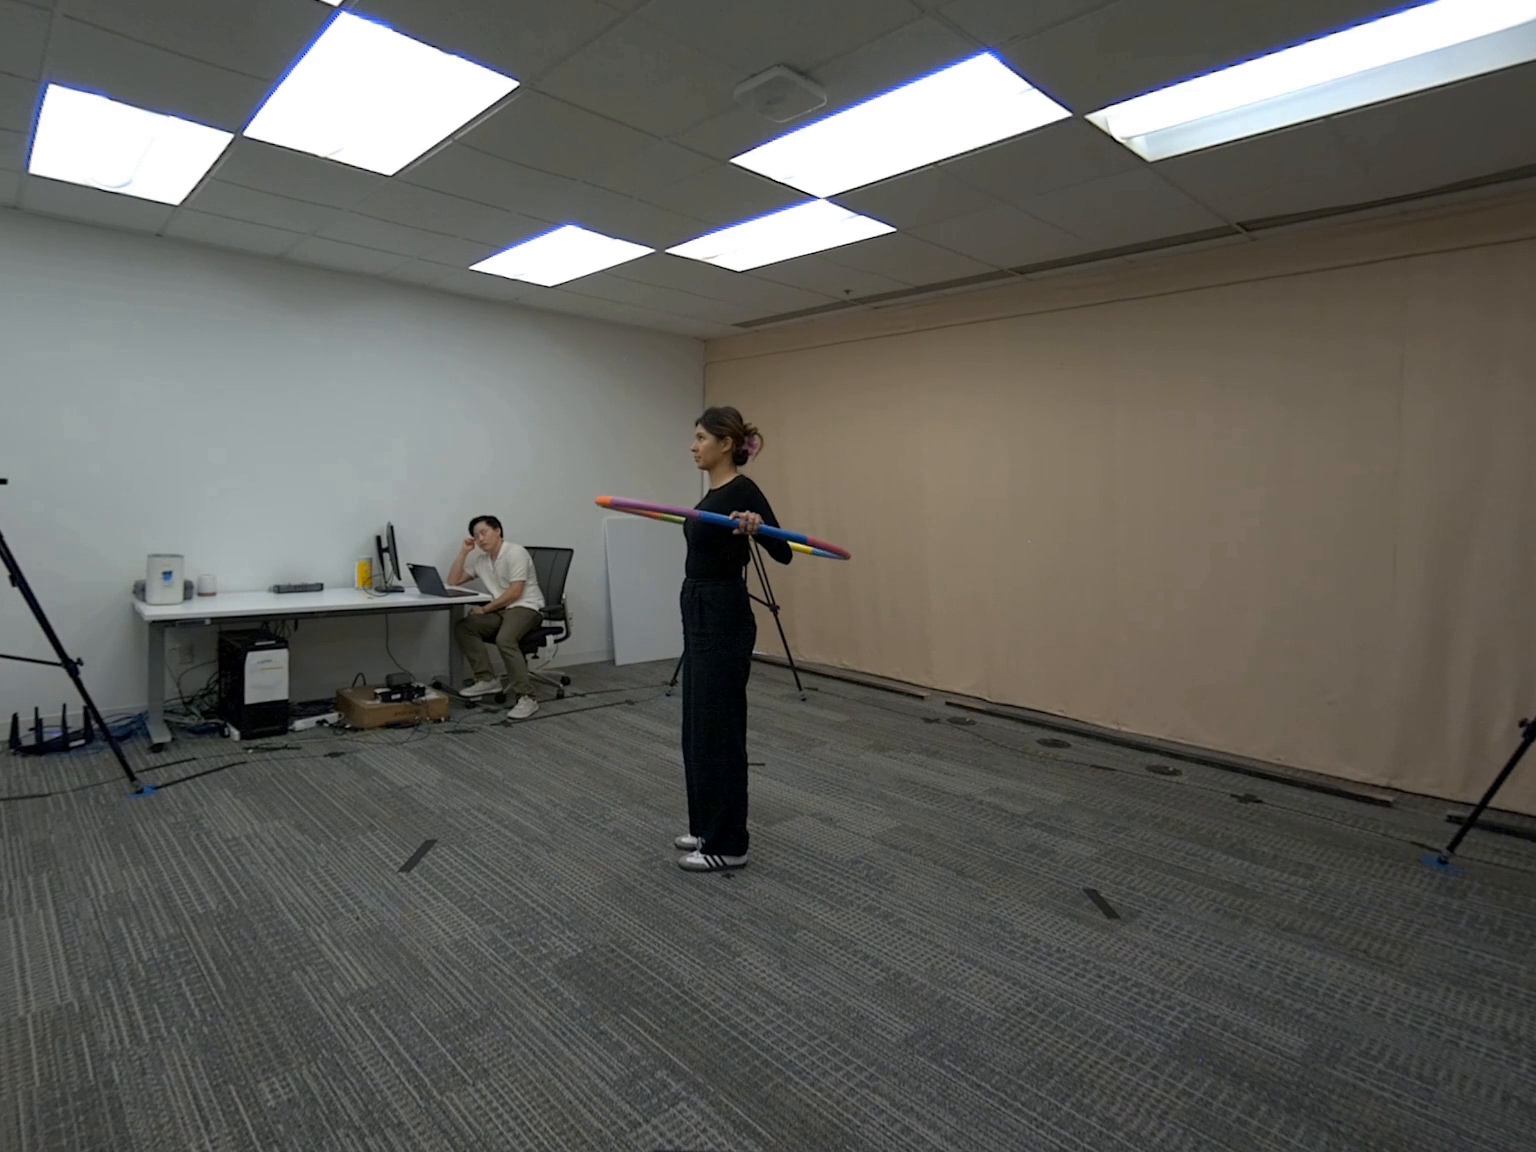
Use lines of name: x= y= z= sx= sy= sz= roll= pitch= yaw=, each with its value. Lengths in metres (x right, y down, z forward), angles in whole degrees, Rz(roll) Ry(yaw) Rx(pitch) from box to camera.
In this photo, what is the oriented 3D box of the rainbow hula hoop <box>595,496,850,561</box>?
rainbow hula hoop: x=-0.172 y=-0.180 z=3.232 sx=0.978 sy=0.035 sz=0.978 roll=13 pitch=0 yaw=-1
